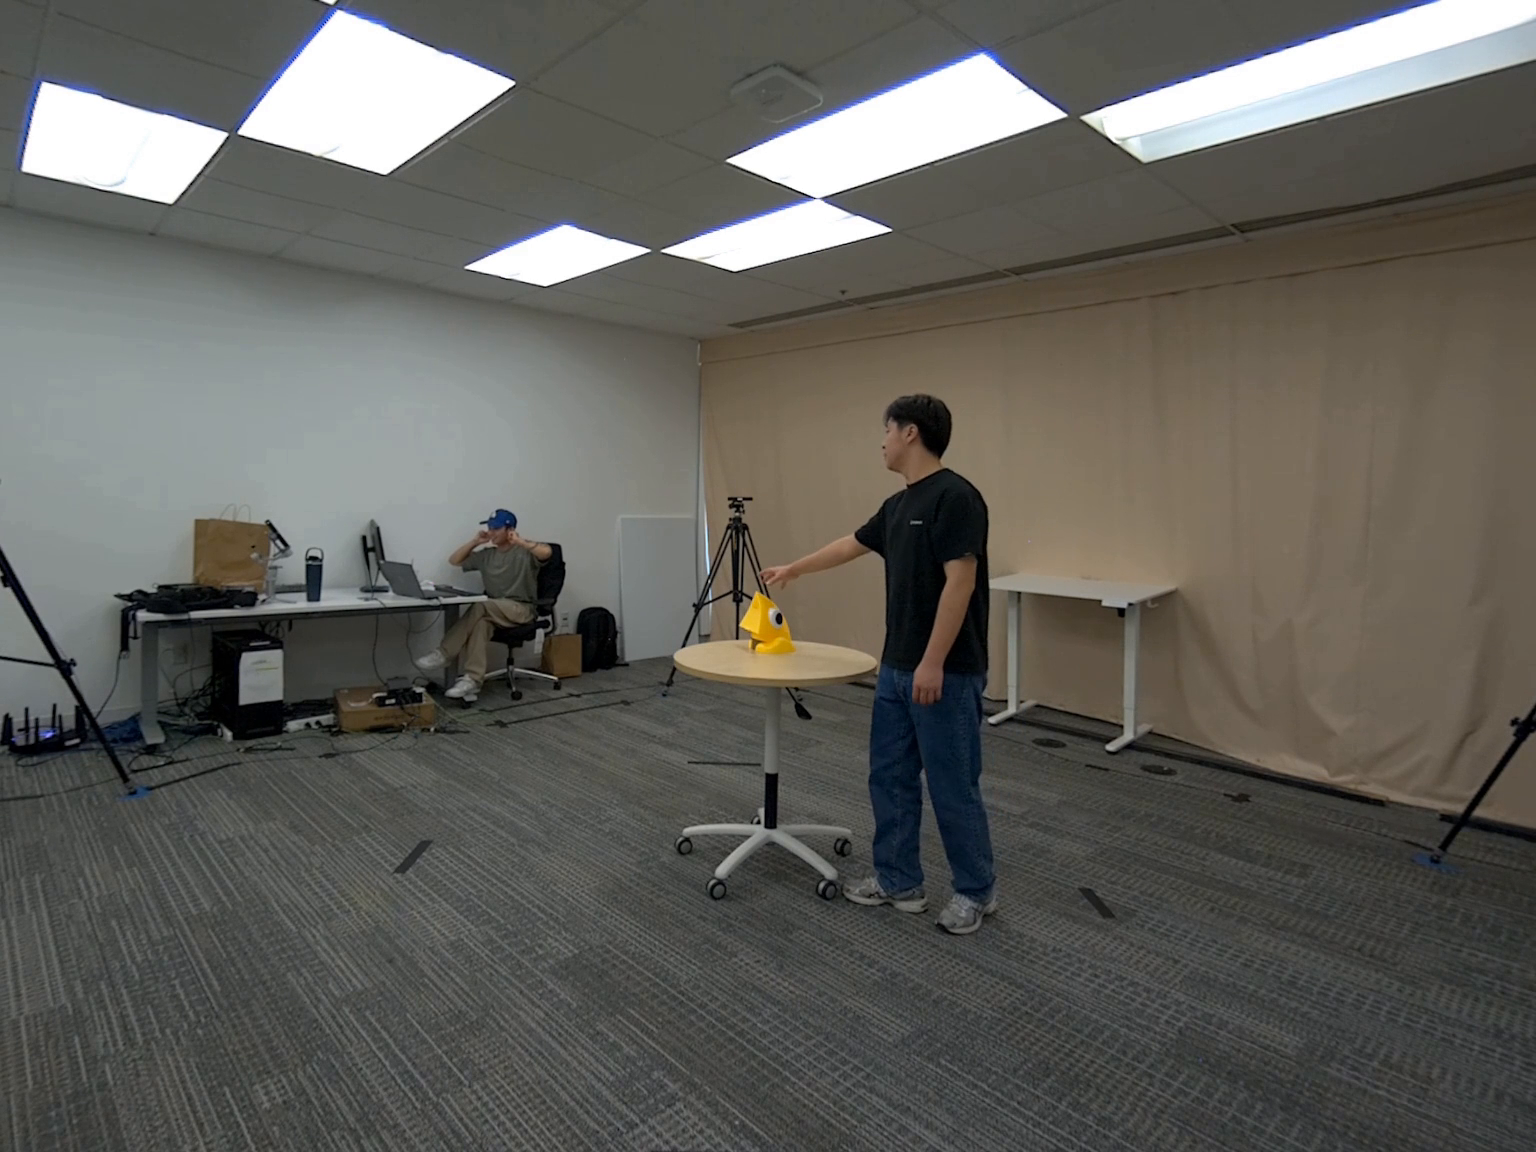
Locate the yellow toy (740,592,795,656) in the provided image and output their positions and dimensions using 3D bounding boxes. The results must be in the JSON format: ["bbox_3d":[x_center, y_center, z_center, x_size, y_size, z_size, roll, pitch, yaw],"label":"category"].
[{"bbox_3d":[-0.003,0.176,3.356,0.190,0.230,0.208,-1,5,-22],"label":"yellow toy"}]
